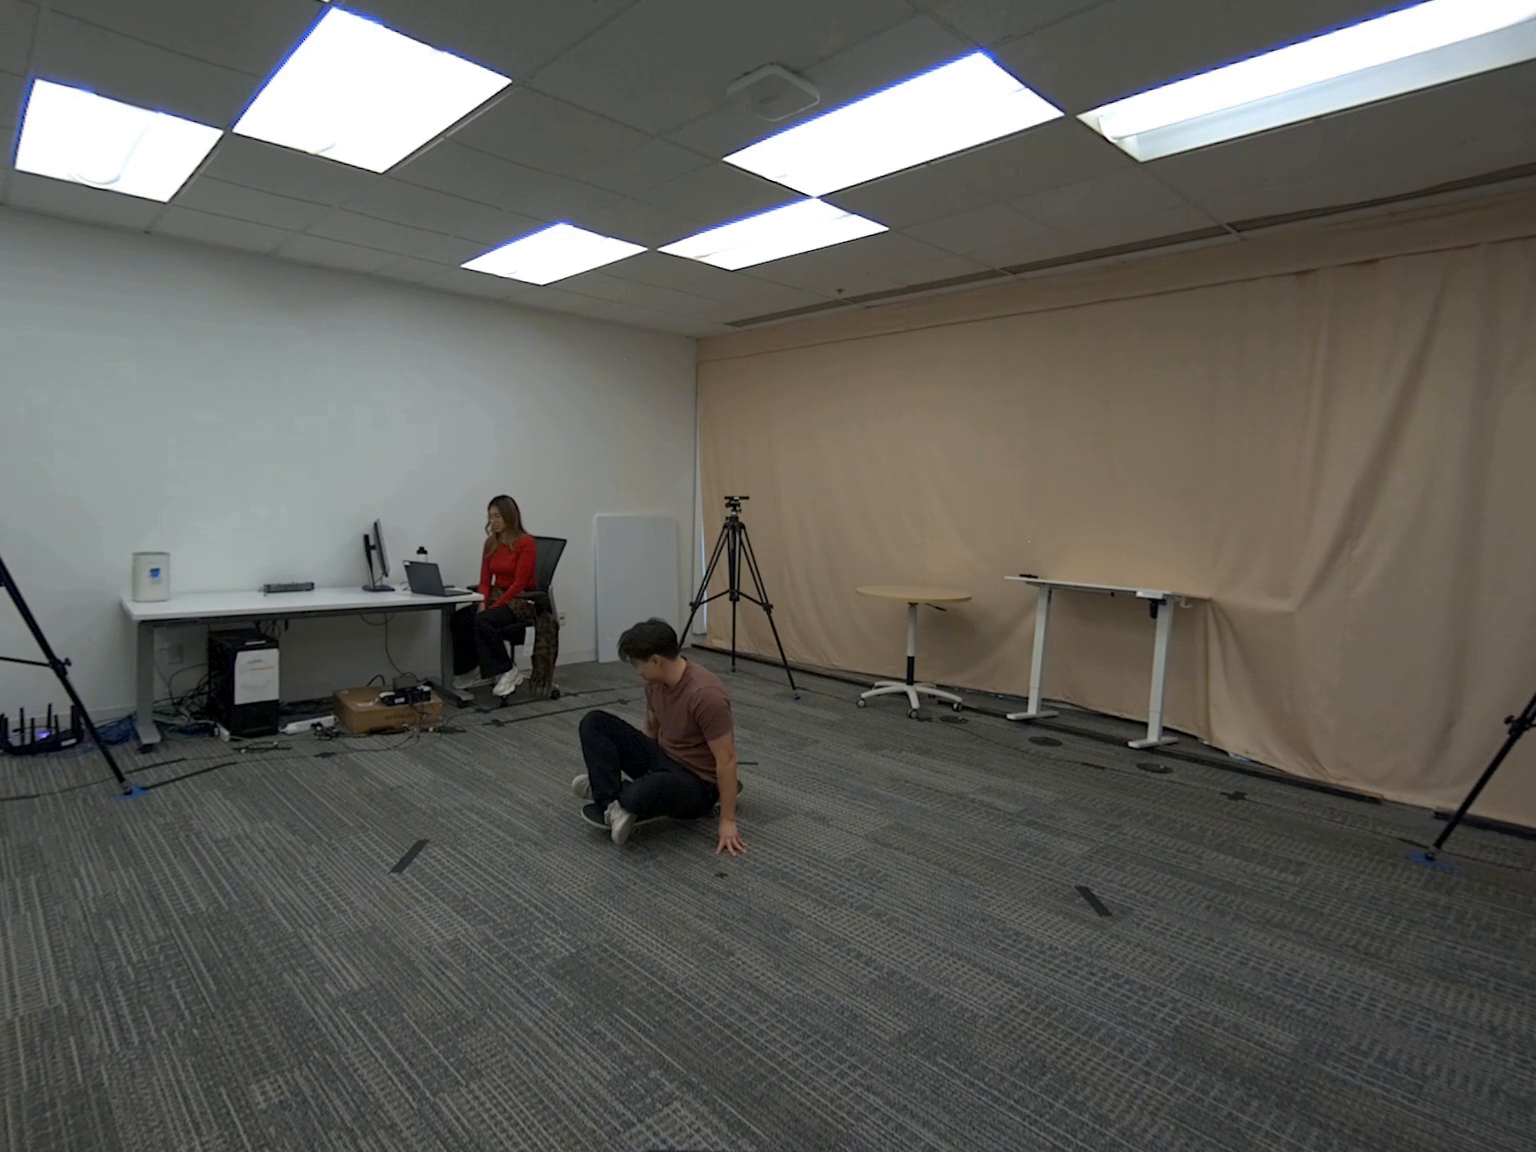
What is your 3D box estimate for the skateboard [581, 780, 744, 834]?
[{"bbox_3d":[-0.462,0.993,3.634,0.768,0.109,0.199,1,16,-34],"label":"skateboard"}]
